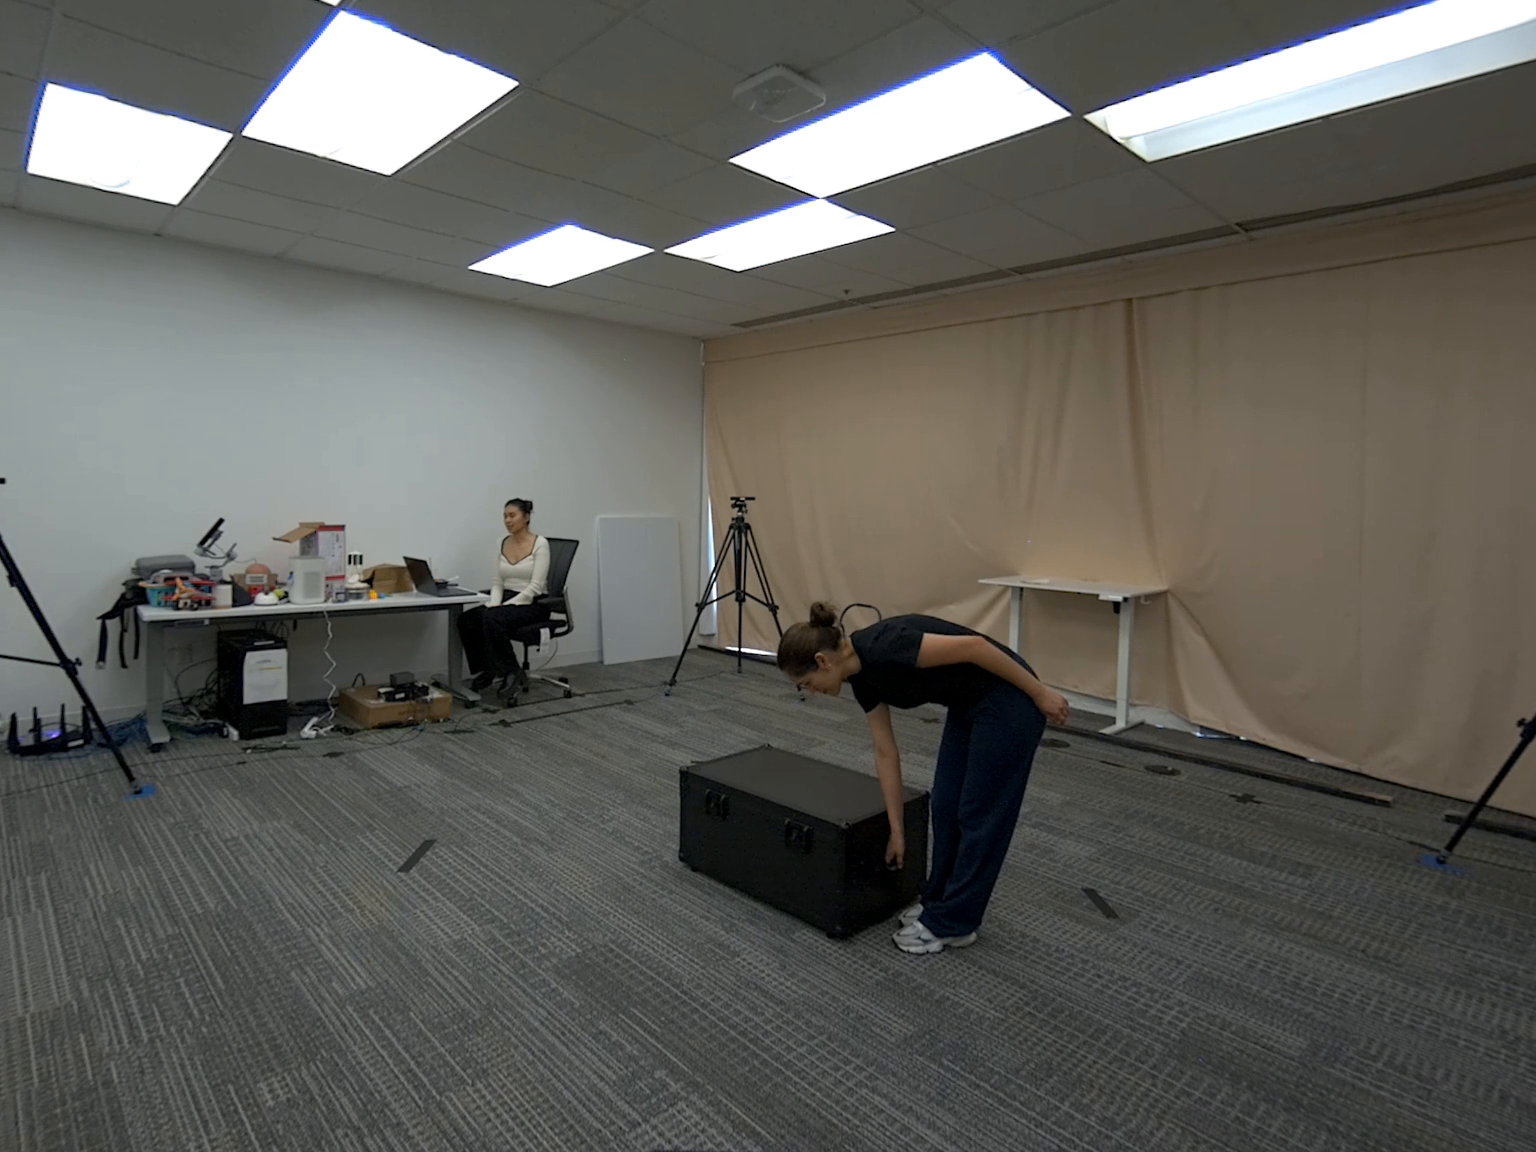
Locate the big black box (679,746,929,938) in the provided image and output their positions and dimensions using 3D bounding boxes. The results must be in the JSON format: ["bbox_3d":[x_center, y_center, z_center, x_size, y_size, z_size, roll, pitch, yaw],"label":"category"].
[{"bbox_3d":[0.088,0.925,3.078,0.884,0.395,0.509,7,6,43],"label":"big black box"}]
